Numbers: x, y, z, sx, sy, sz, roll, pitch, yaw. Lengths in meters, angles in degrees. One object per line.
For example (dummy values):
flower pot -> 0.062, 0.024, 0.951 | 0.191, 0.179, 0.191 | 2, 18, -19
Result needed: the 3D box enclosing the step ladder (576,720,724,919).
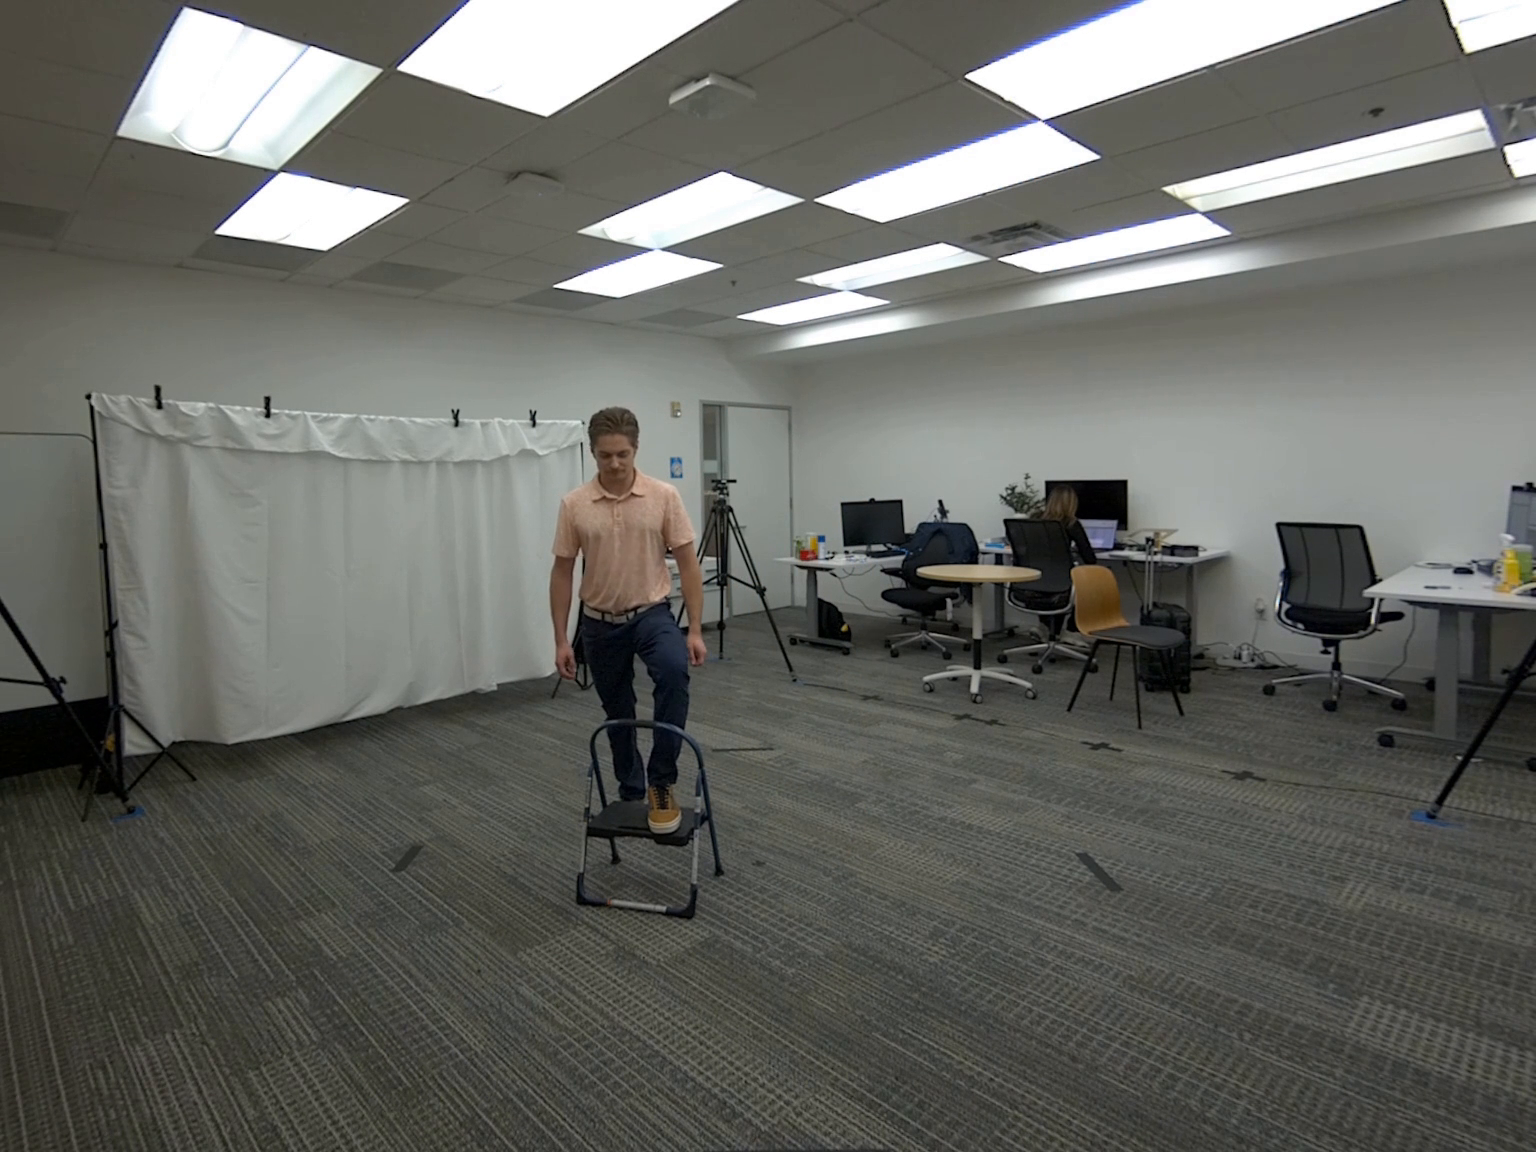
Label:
step ladder -> -0.404, 0.774, 2.921 | 0.437, 0.604, 0.346 | 0, 5, 14
